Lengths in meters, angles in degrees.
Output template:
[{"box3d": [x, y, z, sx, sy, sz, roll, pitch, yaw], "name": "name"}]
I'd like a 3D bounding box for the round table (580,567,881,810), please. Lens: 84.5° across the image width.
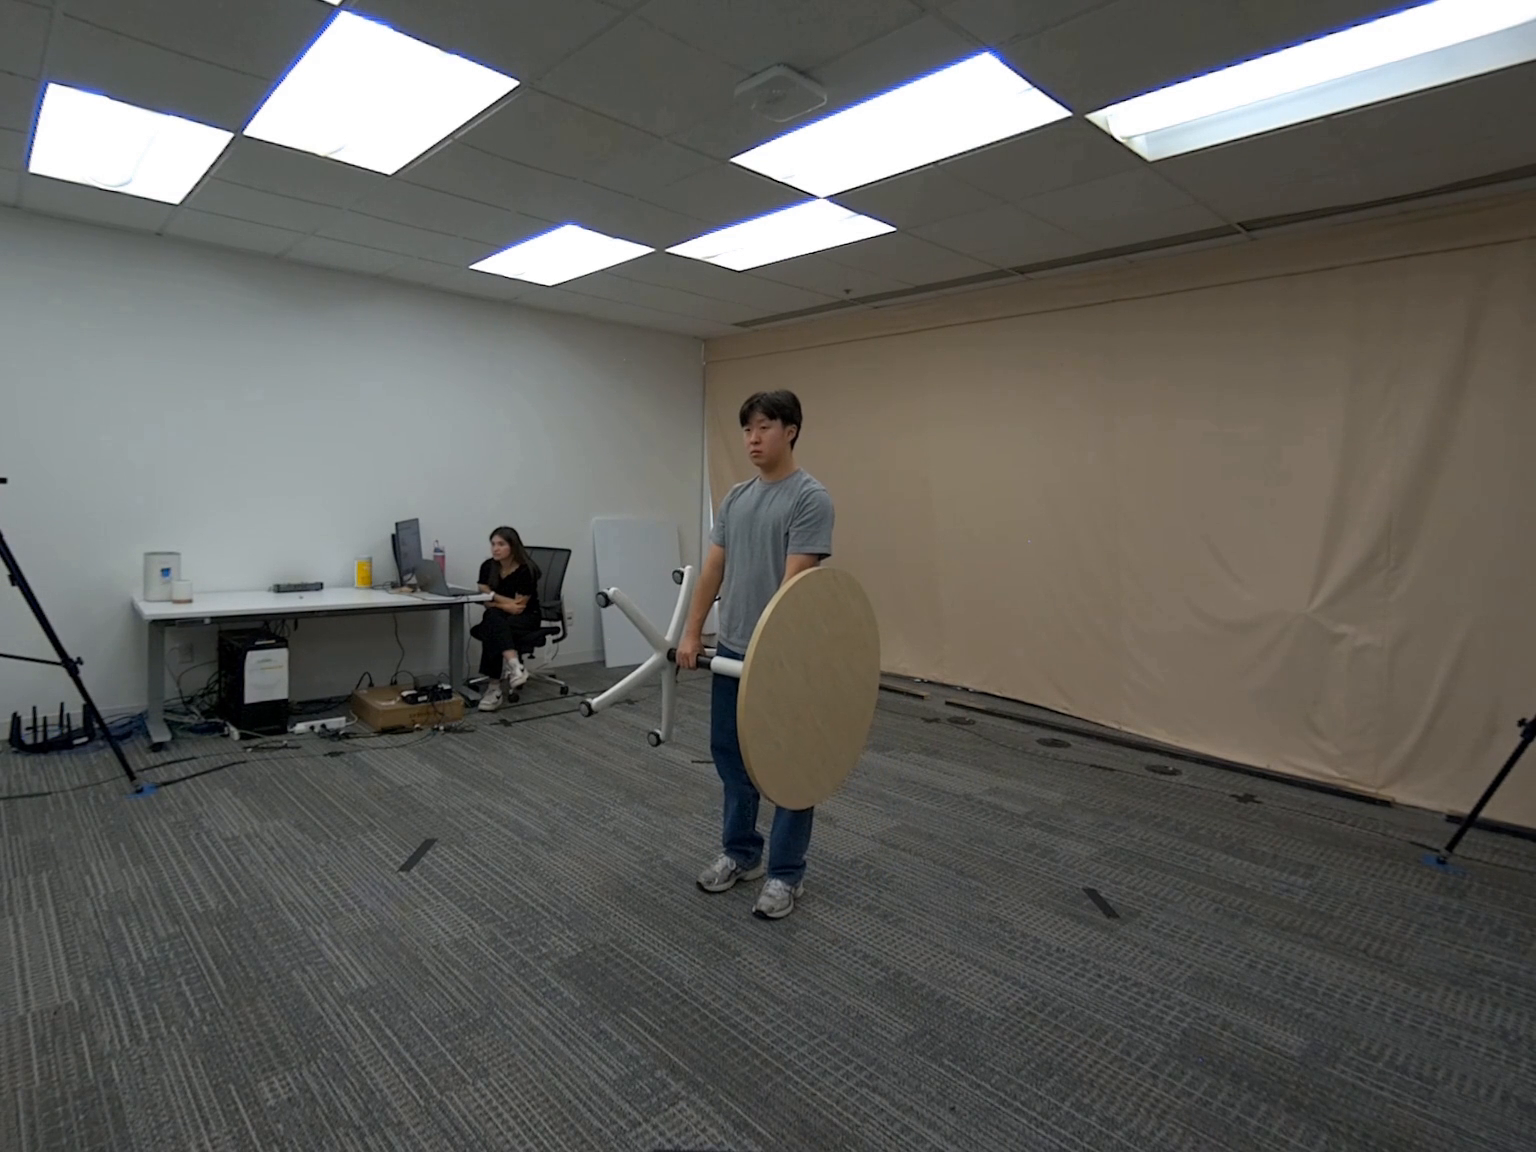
[{"box3d": [-0.155, 0.322, 2.918, 0.814, 0.761, 0.747, 6, 7, 38], "name": "round table"}]
